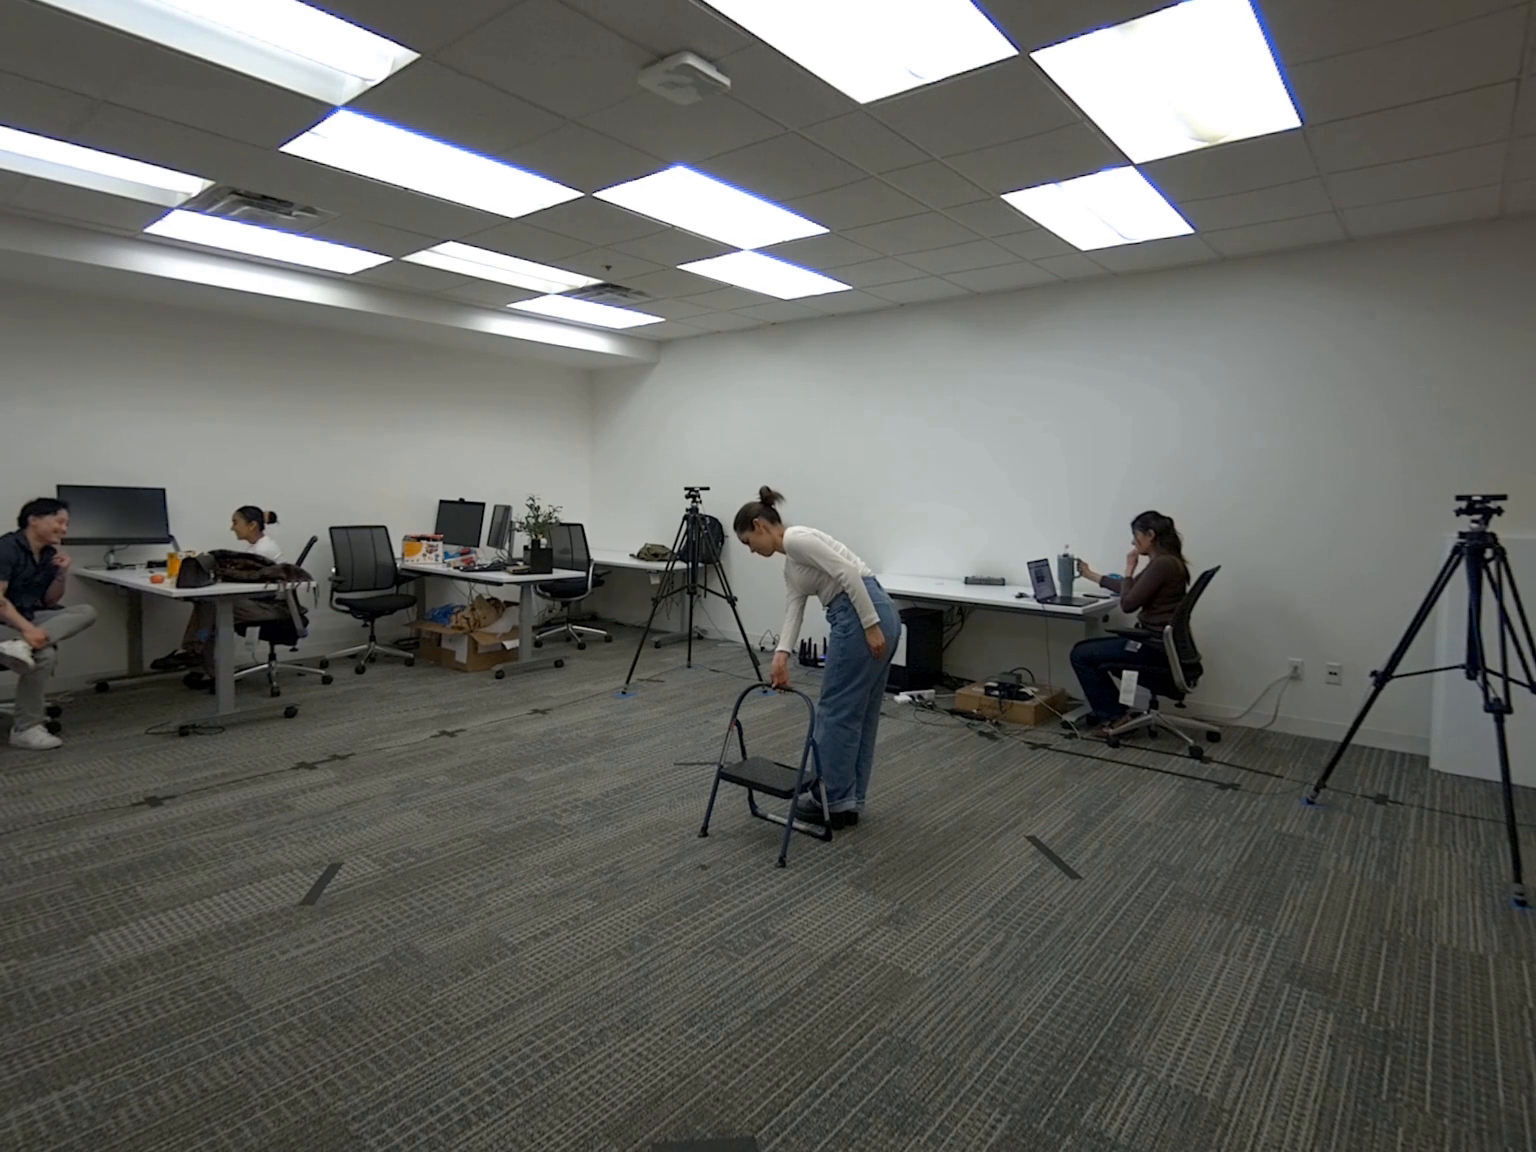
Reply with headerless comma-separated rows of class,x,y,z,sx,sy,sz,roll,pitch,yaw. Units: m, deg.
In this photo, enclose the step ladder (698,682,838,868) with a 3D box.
step ladder,-0.008,0.740,3.372,0.445,0.604,0.339,4,5,40
